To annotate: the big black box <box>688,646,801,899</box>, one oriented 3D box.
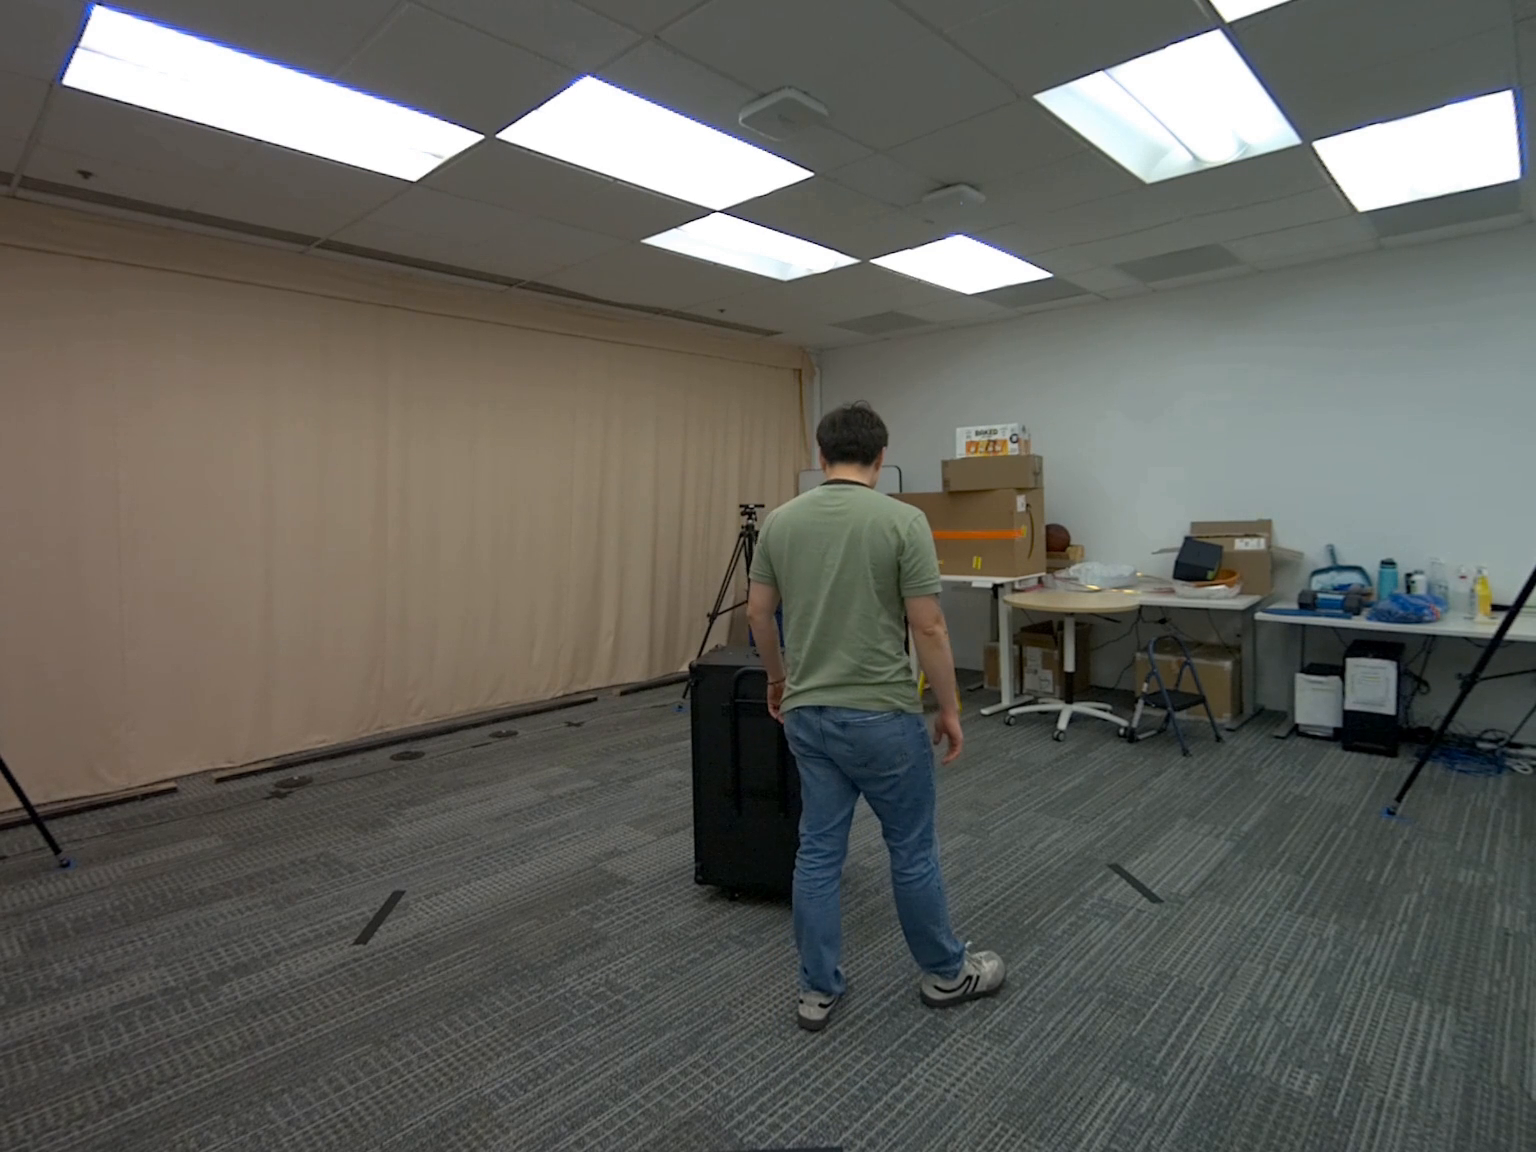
[{"bbox_3d":[0.010,0.711,3.022,0.529,0.859,0.391,0,4,14],"label":"big black box"}]
